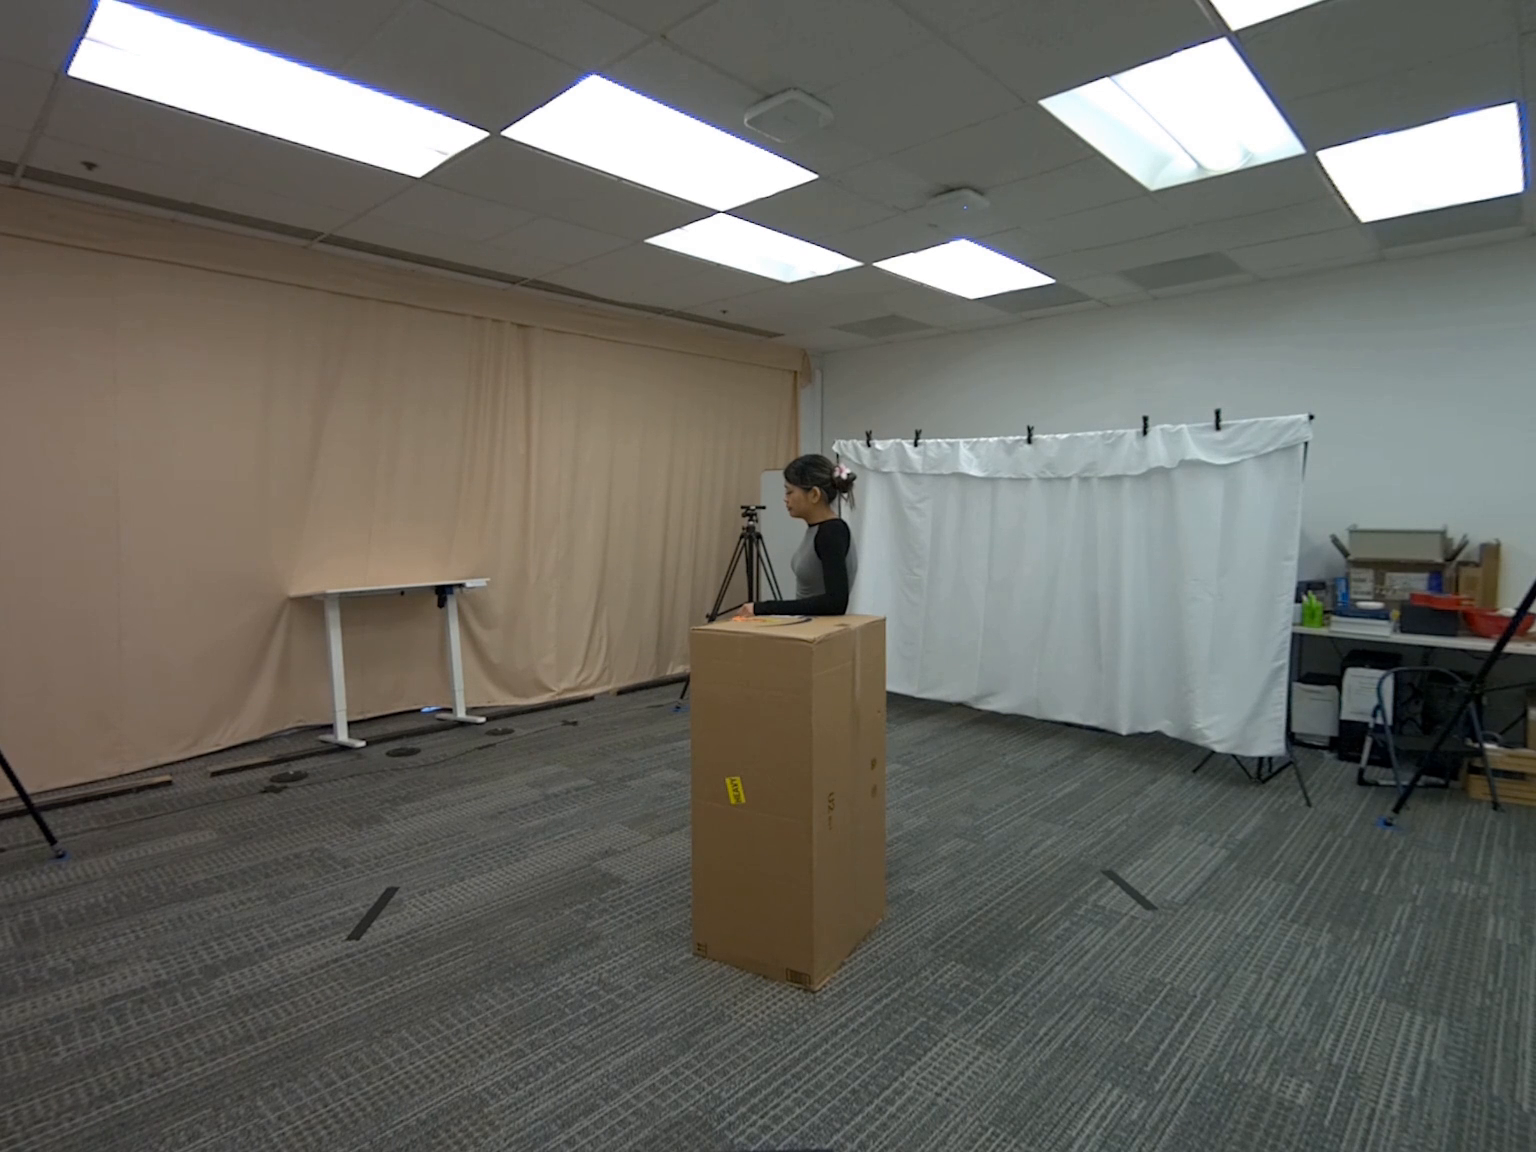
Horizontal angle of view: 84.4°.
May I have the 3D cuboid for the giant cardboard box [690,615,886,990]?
[{"bbox_3d":[0.083,0.657,2.727,0.439,1.024,0.562,2,3,31],"label":"giant cardboard box"}]
